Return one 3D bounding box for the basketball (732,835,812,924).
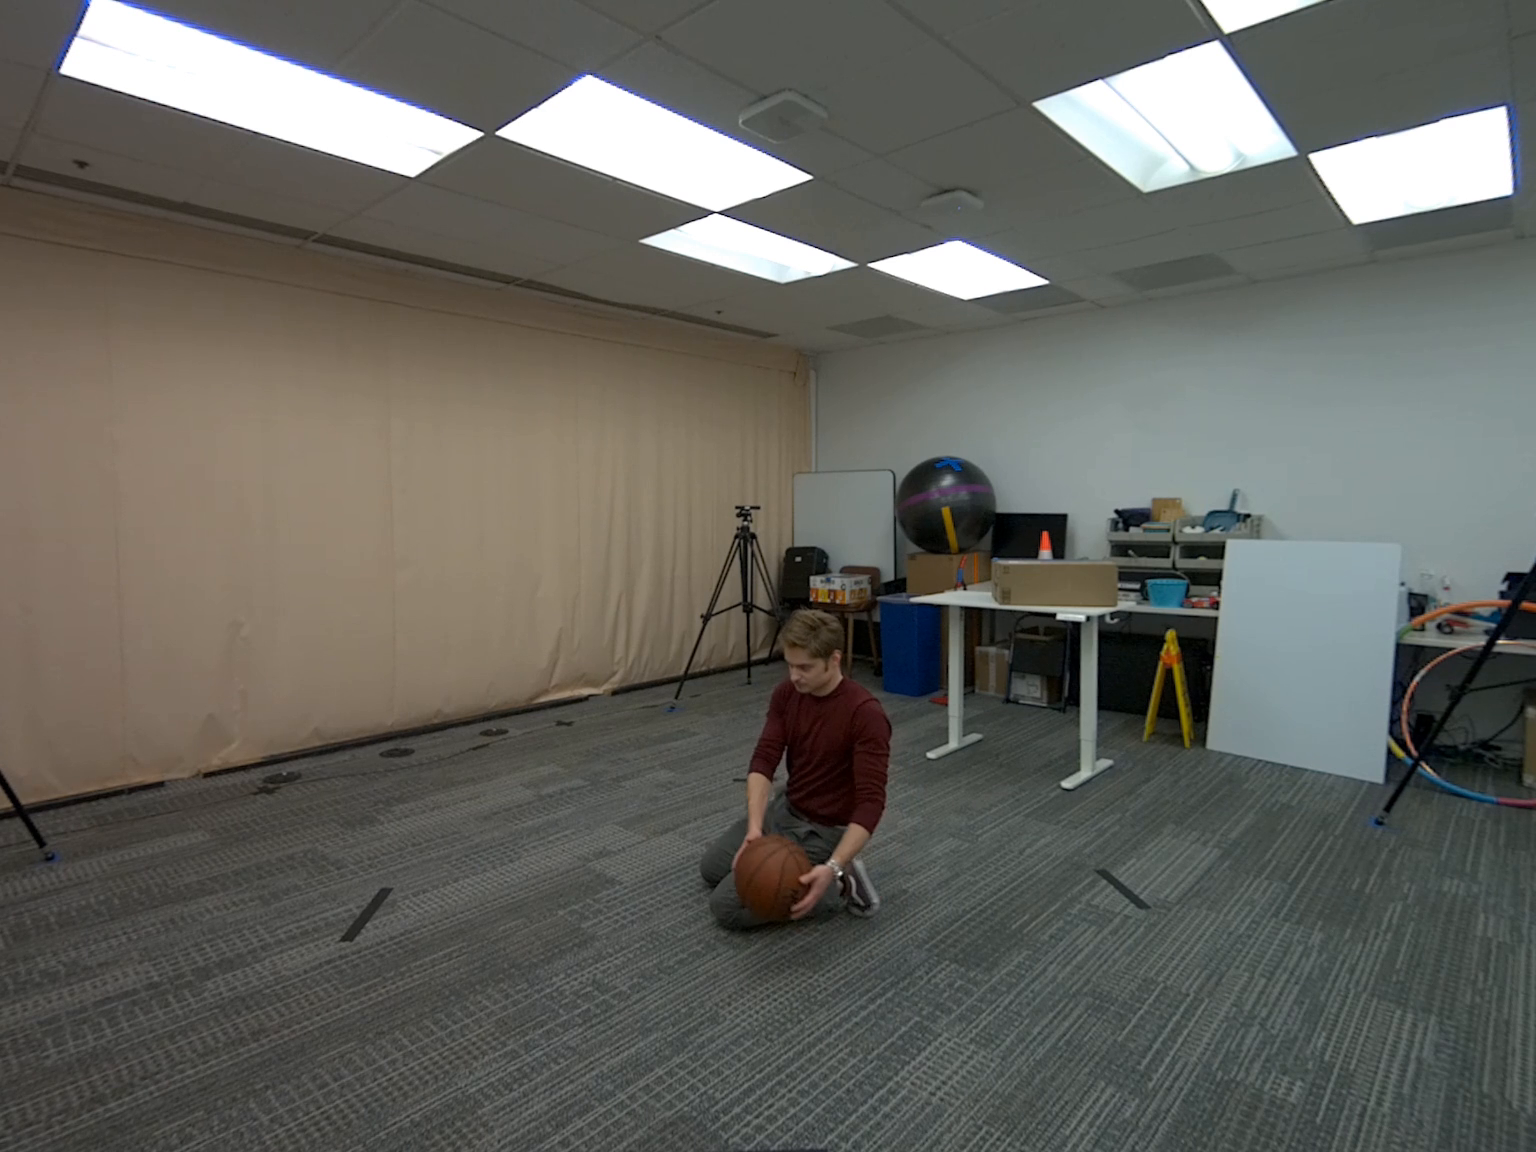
[{"bbox_3d":[0.020,0.897,2.547,0.236,0.235,0.237,0,4,-2],"label":"basketball"}]
